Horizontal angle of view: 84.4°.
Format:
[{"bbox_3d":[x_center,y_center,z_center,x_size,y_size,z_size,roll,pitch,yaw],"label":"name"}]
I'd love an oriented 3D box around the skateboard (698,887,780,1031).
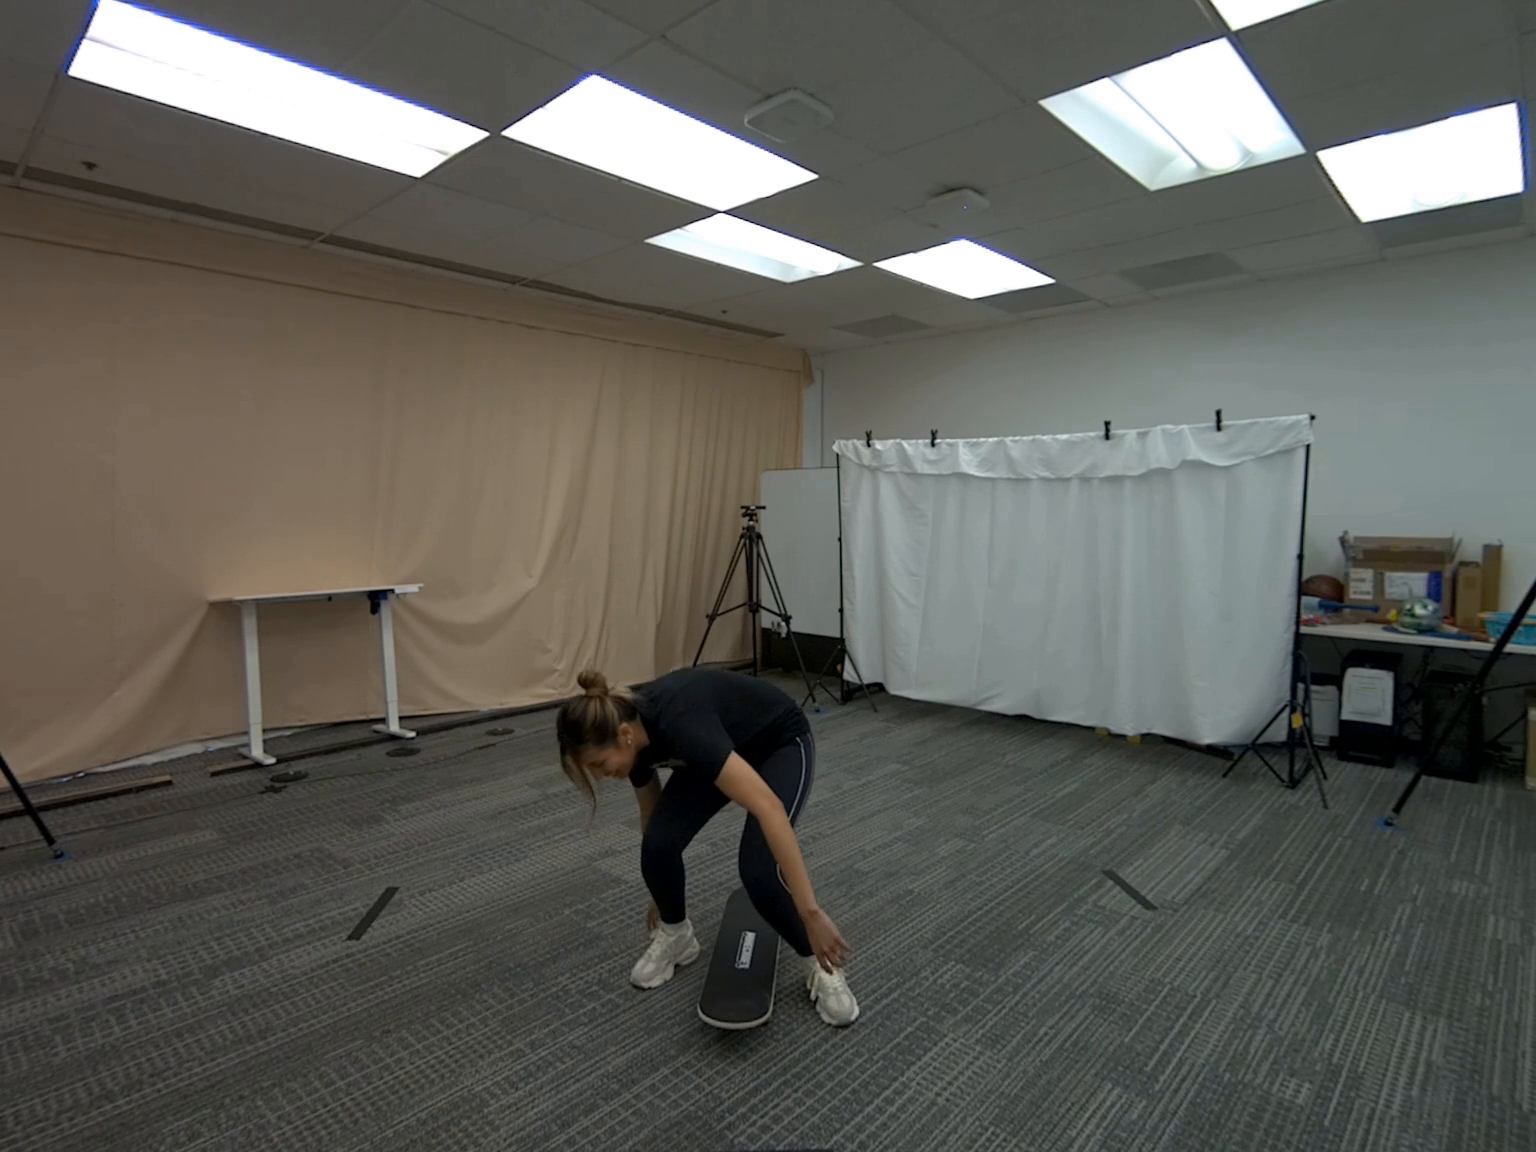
[{"bbox_3d":[-0.066,1.126,2.479,0.195,0.110,0.782,-1,5,4],"label":"skateboard"}]
